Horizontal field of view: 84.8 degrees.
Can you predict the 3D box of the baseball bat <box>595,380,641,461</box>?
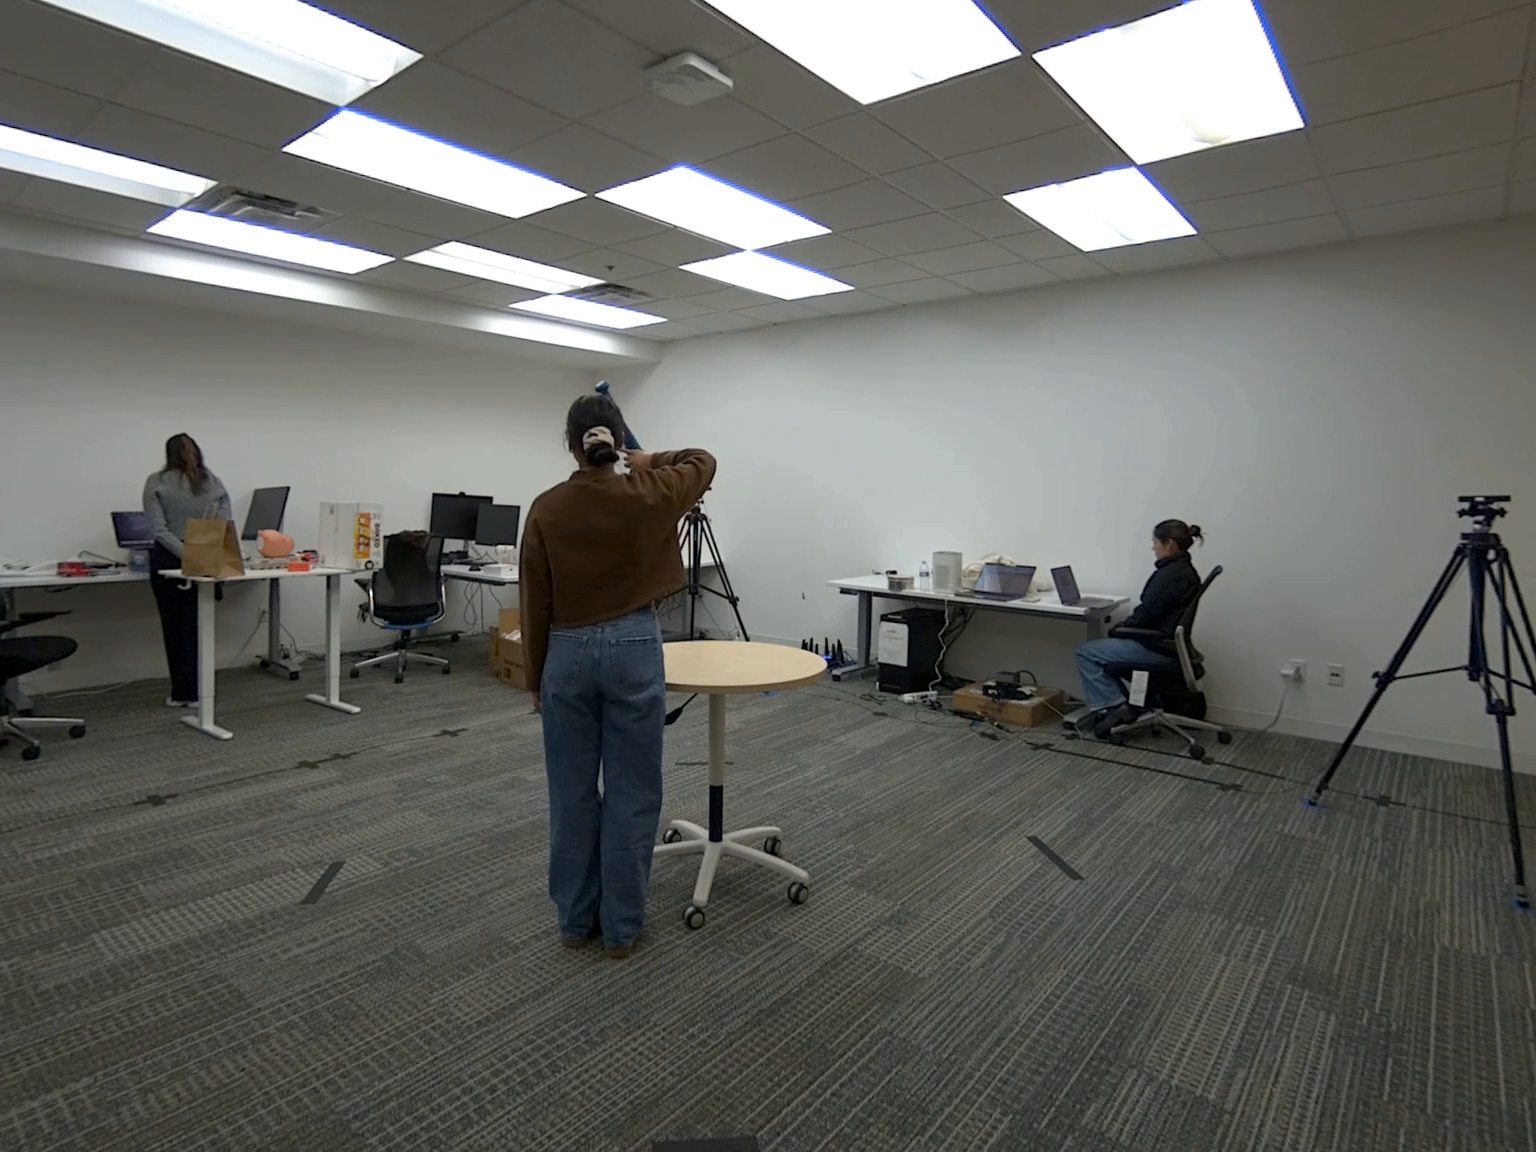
[{"bbox_3d":[-0.479,-0.433,2.934,0.090,0.524,0.091,-15,33,9],"label":"baseball bat"}]
